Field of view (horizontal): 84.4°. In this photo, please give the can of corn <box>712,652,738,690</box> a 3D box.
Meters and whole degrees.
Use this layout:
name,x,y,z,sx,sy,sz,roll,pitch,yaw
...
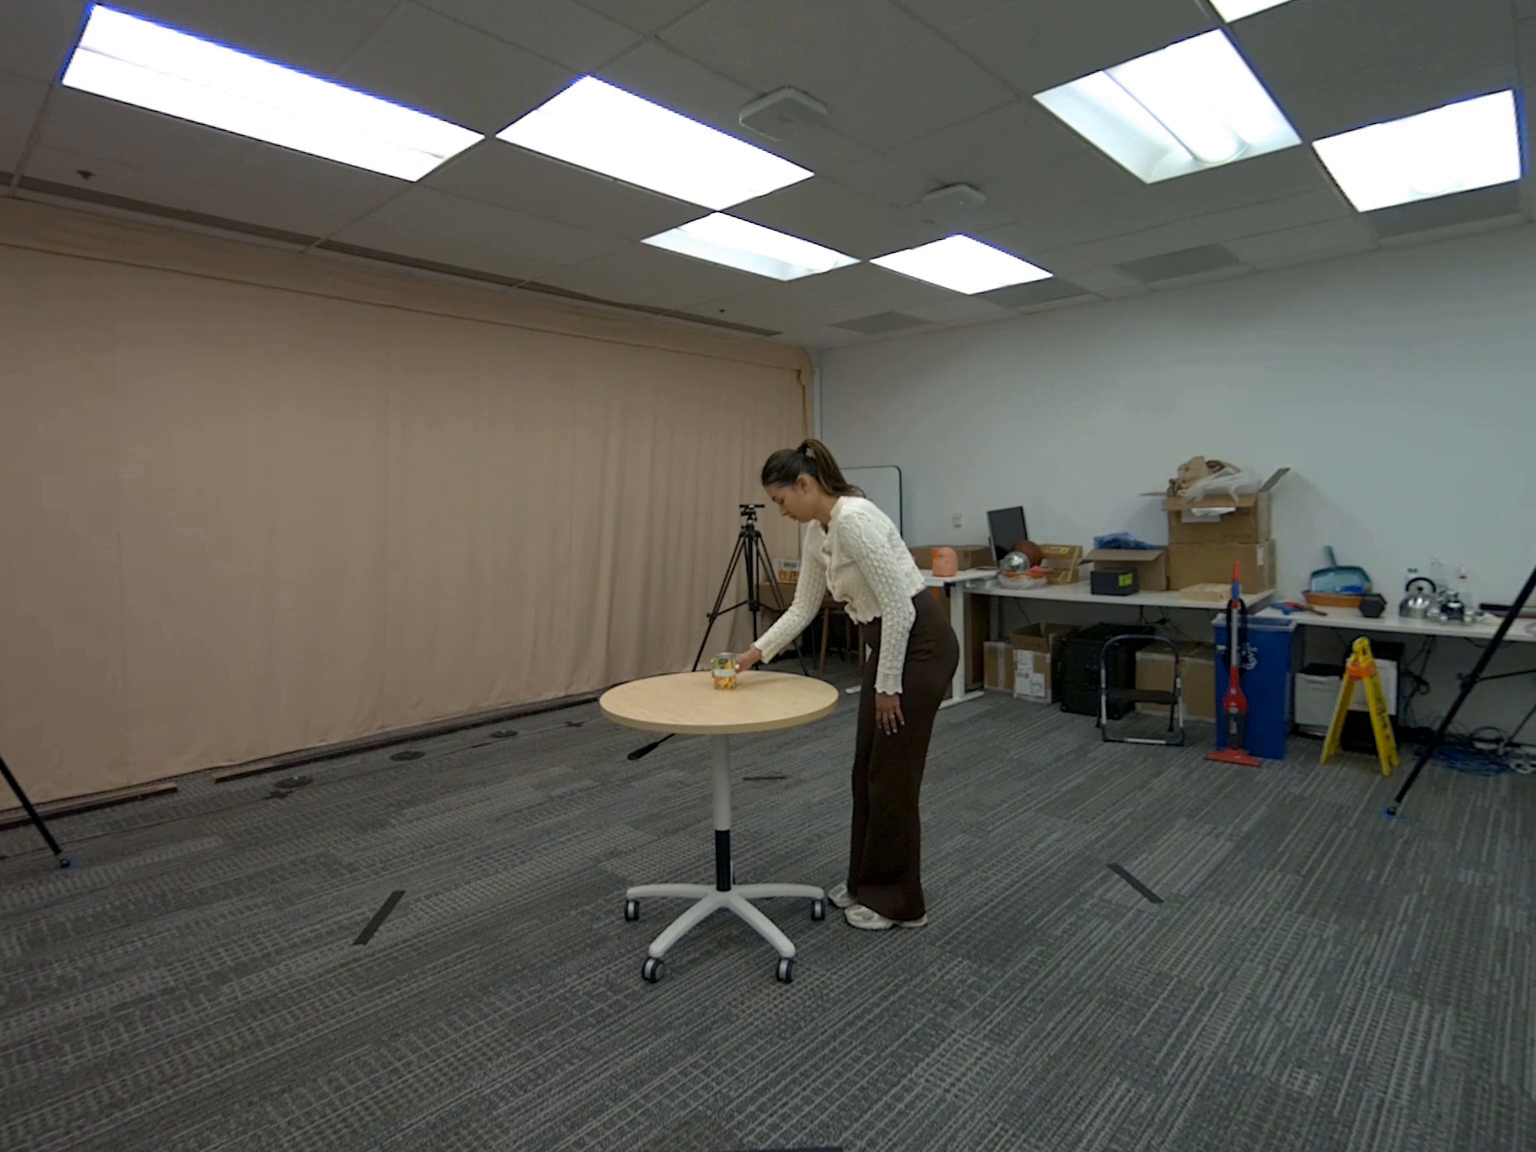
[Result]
name,x,y,z,sx,sy,sz,roll,pitch,yaw
can of corn,-0.148,0.317,2.821,0.074,0.111,0.074,0,2,-2
